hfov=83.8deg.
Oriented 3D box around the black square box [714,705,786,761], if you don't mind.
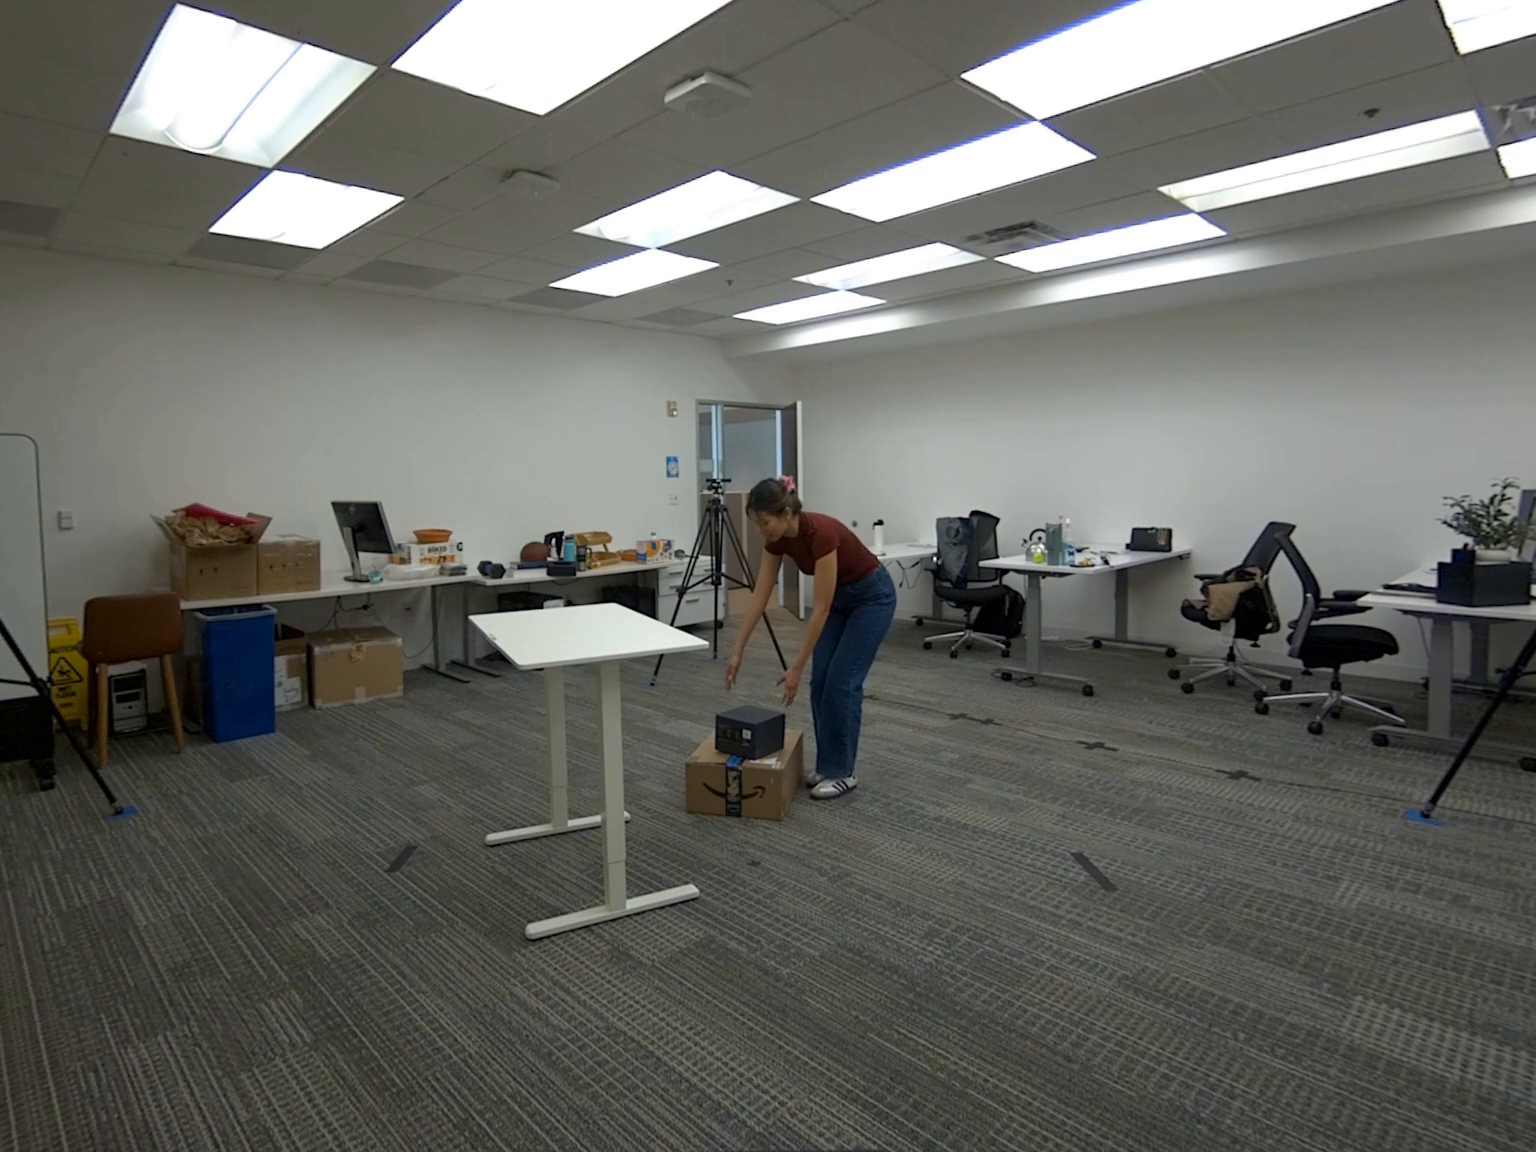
[{"bbox_3d":[-0.076,0.672,3.719,0.223,0.155,0.222,5,6,36],"label":"black square box"}]
